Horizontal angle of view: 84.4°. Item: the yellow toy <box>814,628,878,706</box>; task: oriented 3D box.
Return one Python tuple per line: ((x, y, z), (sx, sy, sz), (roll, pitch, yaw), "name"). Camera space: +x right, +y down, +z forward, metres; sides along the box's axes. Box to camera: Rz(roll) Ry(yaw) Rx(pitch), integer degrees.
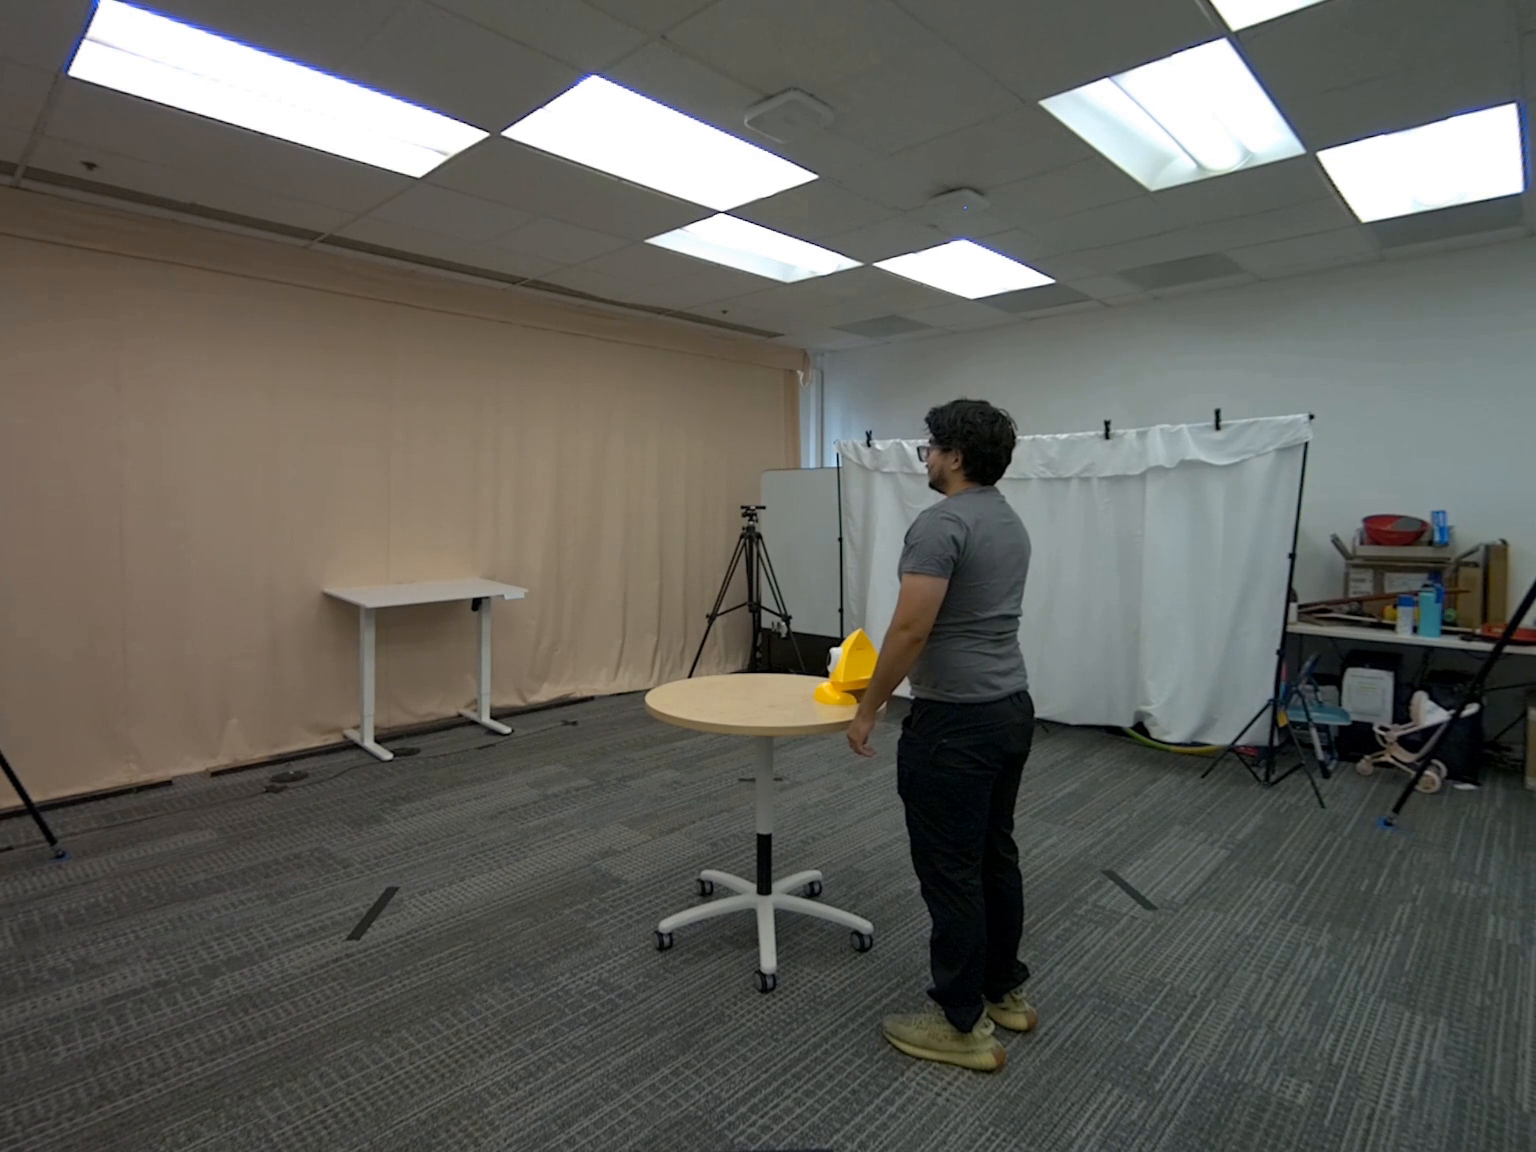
((0.258, 0.276, 2.653), (0.199, 0.230, 0.199), (-2, 3, -35), "yellow toy")
